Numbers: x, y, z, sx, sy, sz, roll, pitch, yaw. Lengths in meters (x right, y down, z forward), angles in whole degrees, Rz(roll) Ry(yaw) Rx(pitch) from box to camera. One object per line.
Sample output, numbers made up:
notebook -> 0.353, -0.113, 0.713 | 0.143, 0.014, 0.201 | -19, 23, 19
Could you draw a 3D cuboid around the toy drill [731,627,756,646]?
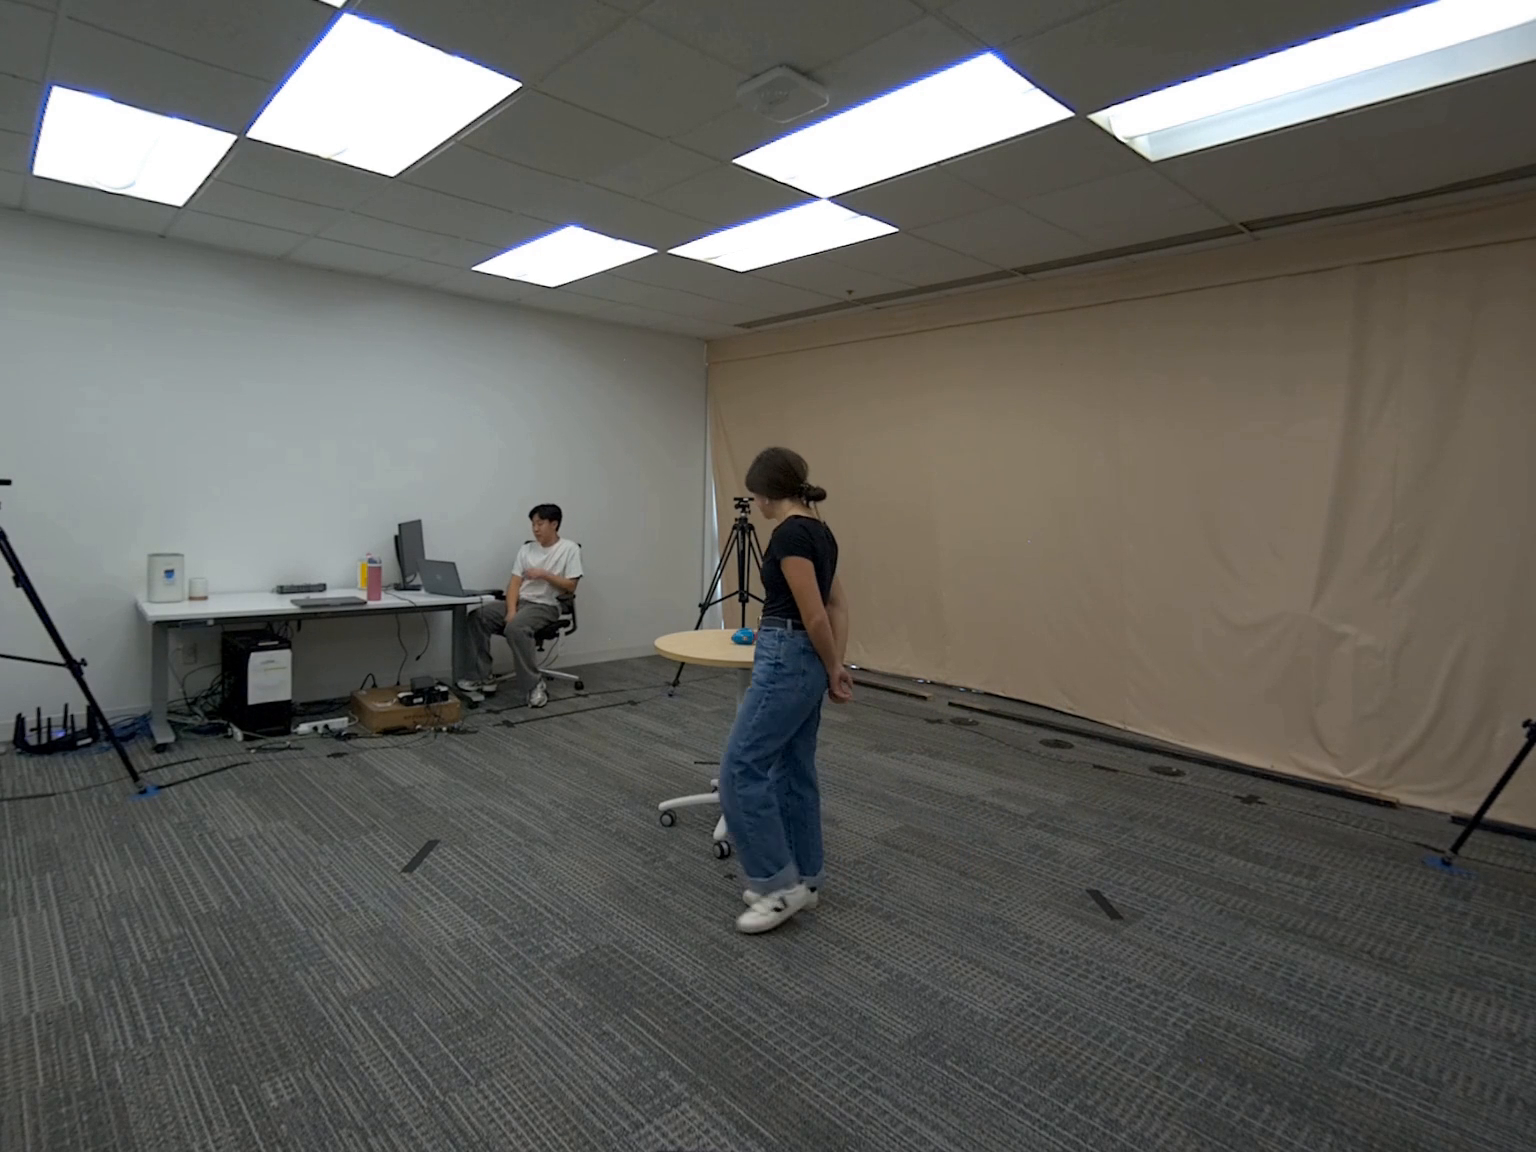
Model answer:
toy drill -> -0.074, 0.255, 3.585 | 0.170, 0.061, 0.146 | -6, 4, 6
